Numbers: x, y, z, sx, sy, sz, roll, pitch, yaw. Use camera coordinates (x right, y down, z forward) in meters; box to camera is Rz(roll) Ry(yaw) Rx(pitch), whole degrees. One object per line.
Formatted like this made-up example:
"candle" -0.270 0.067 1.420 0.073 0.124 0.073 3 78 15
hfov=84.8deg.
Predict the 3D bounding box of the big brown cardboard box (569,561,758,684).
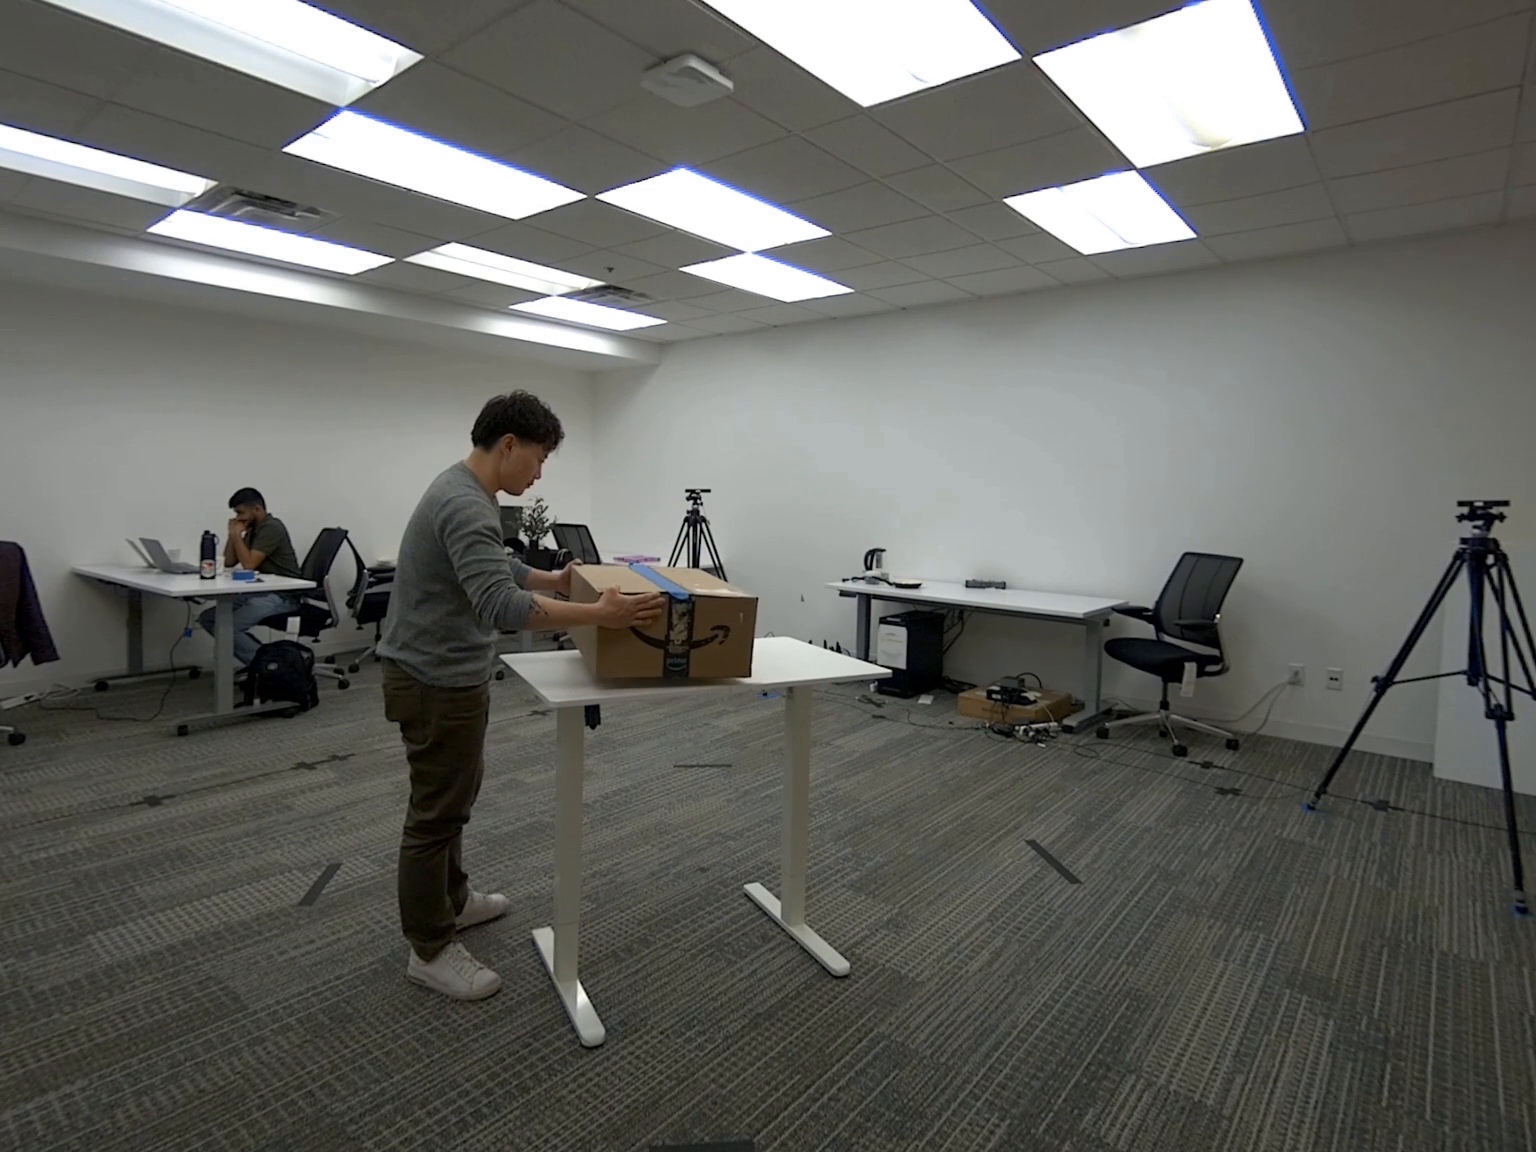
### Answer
"big brown cardboard box" -0.333 0.114 2.416 0.409 0.232 0.603 1 6 -19
